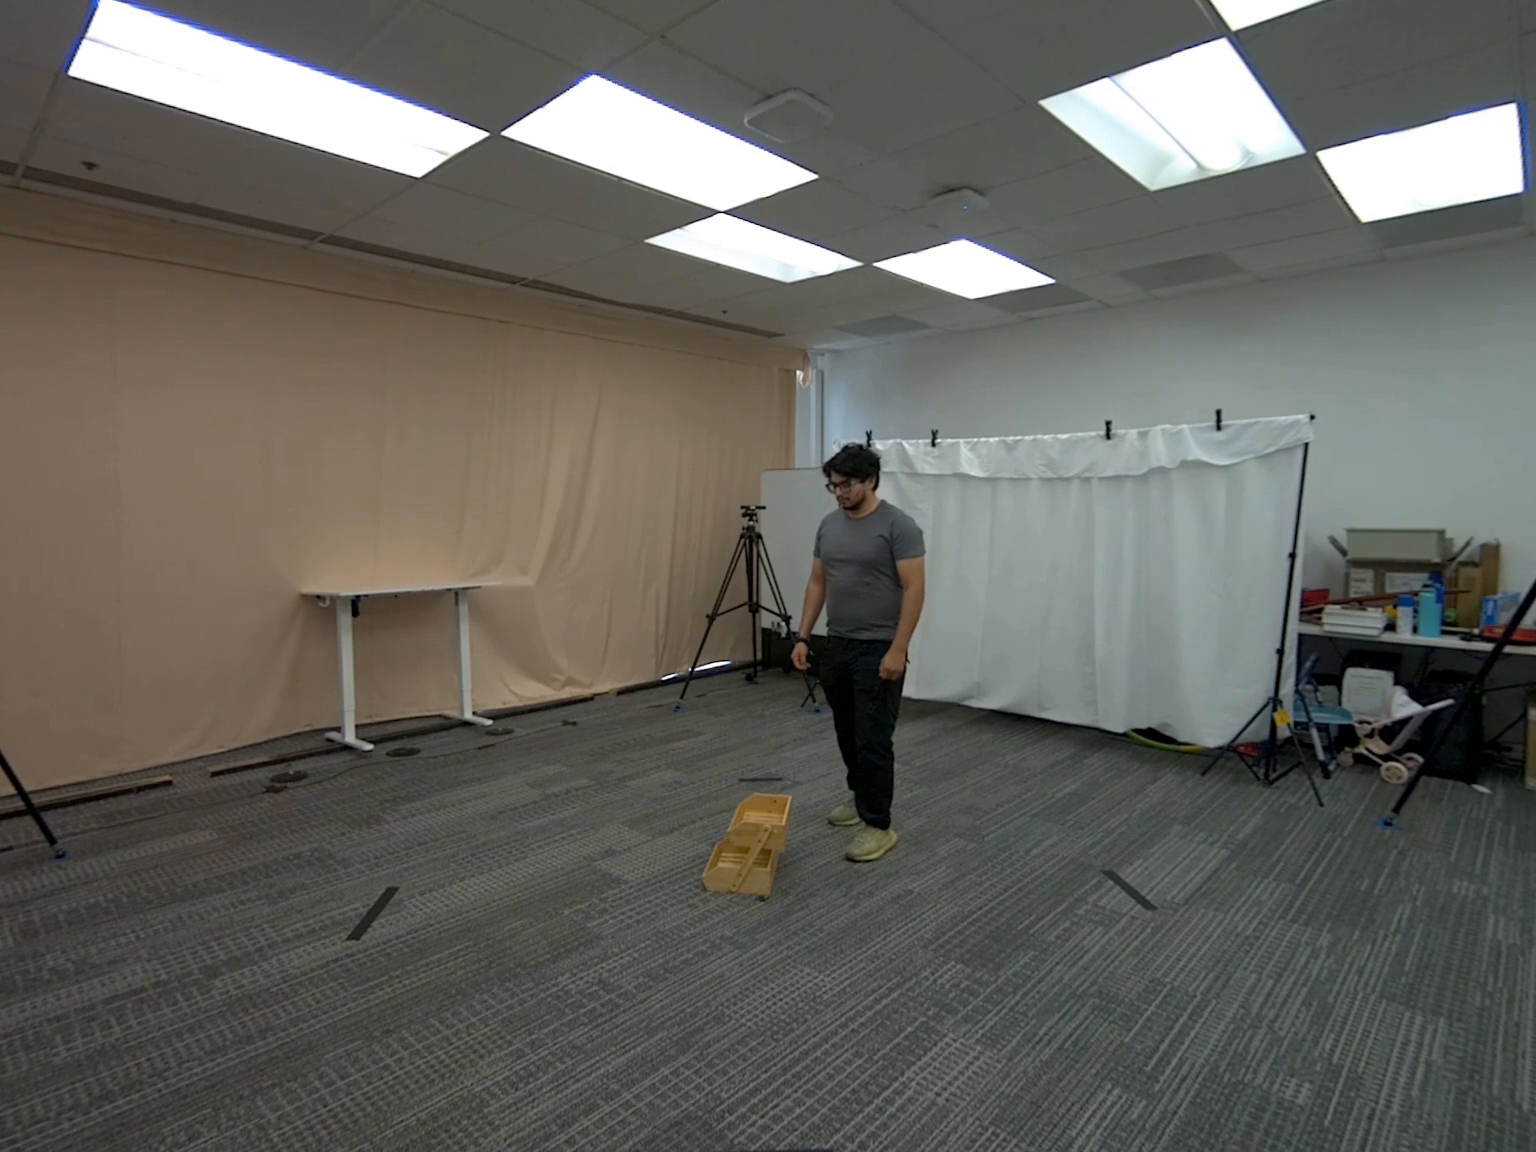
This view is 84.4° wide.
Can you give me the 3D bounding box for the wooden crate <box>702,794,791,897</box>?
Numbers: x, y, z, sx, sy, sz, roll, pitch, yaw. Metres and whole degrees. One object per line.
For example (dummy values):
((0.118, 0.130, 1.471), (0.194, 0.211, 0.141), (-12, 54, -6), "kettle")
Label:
((-0.078, 0.993, 3.169), (0.305, 0.273, 0.322), (2, 4, 8), "wooden crate")
